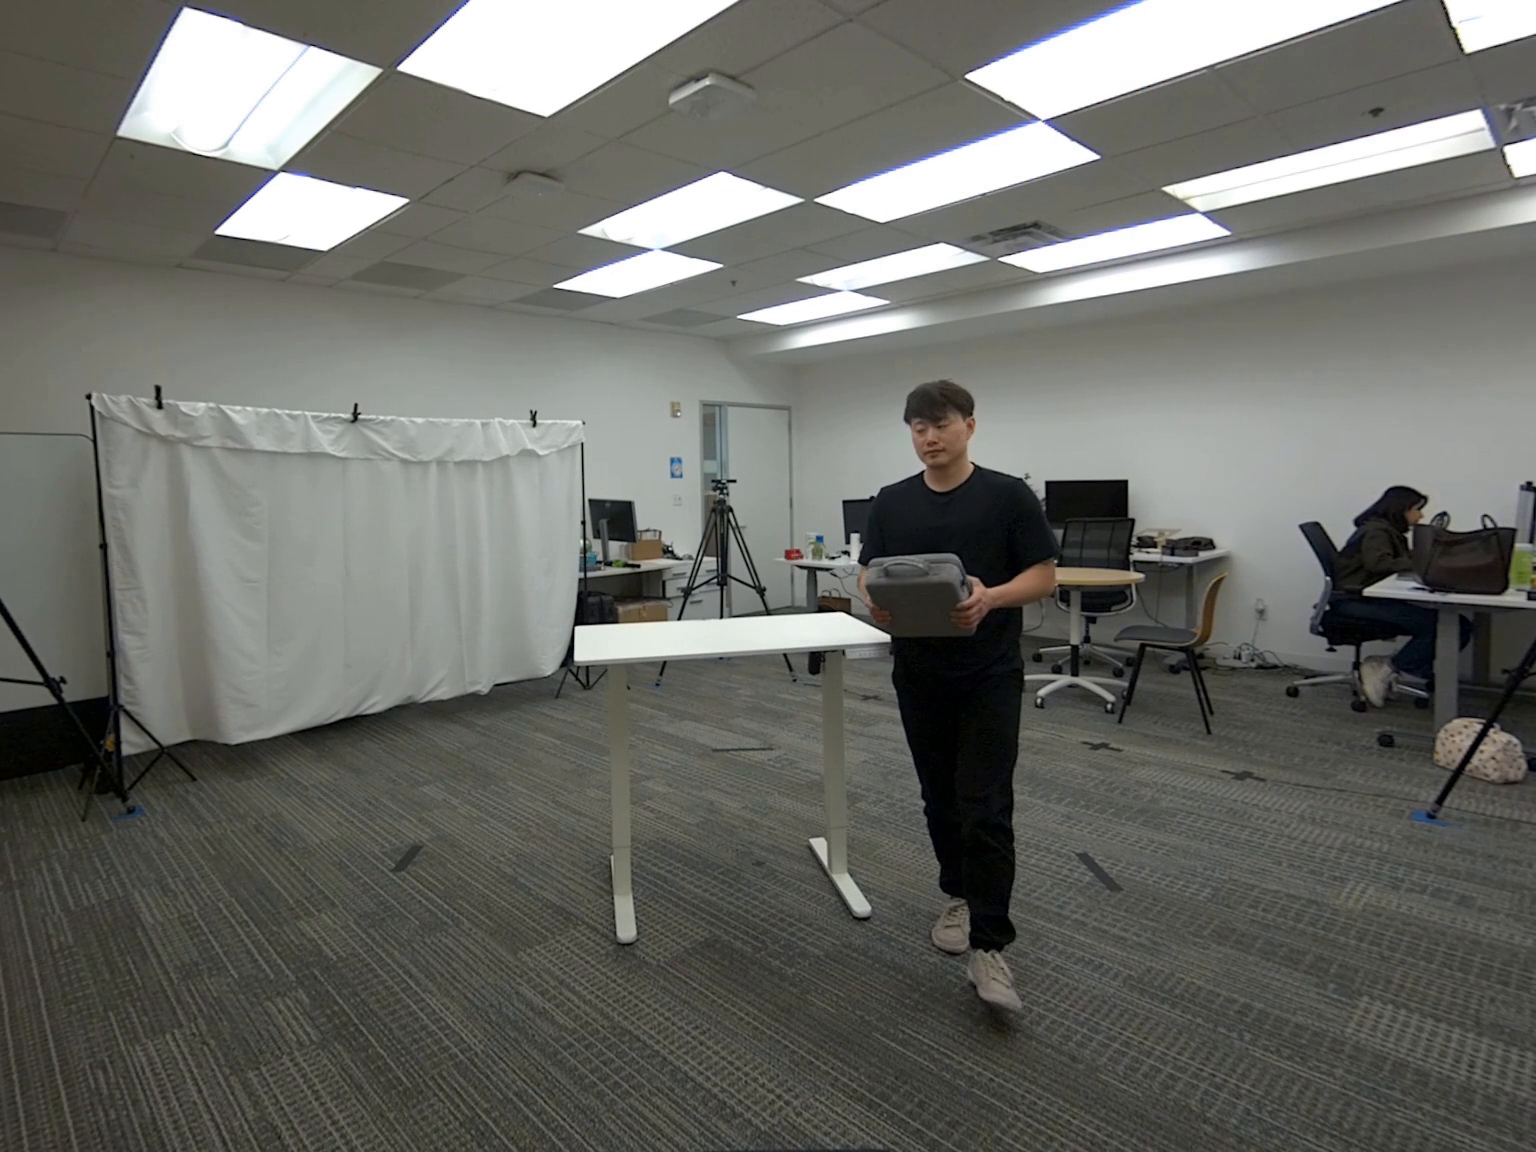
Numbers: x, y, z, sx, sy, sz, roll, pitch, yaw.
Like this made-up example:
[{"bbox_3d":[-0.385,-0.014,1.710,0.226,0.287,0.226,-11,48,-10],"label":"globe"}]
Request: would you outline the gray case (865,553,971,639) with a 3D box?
[{"bbox_3d":[0.408,0.052,2.288,0.263,0.106,0.251,-4,-40,32],"label":"gray case"}]
